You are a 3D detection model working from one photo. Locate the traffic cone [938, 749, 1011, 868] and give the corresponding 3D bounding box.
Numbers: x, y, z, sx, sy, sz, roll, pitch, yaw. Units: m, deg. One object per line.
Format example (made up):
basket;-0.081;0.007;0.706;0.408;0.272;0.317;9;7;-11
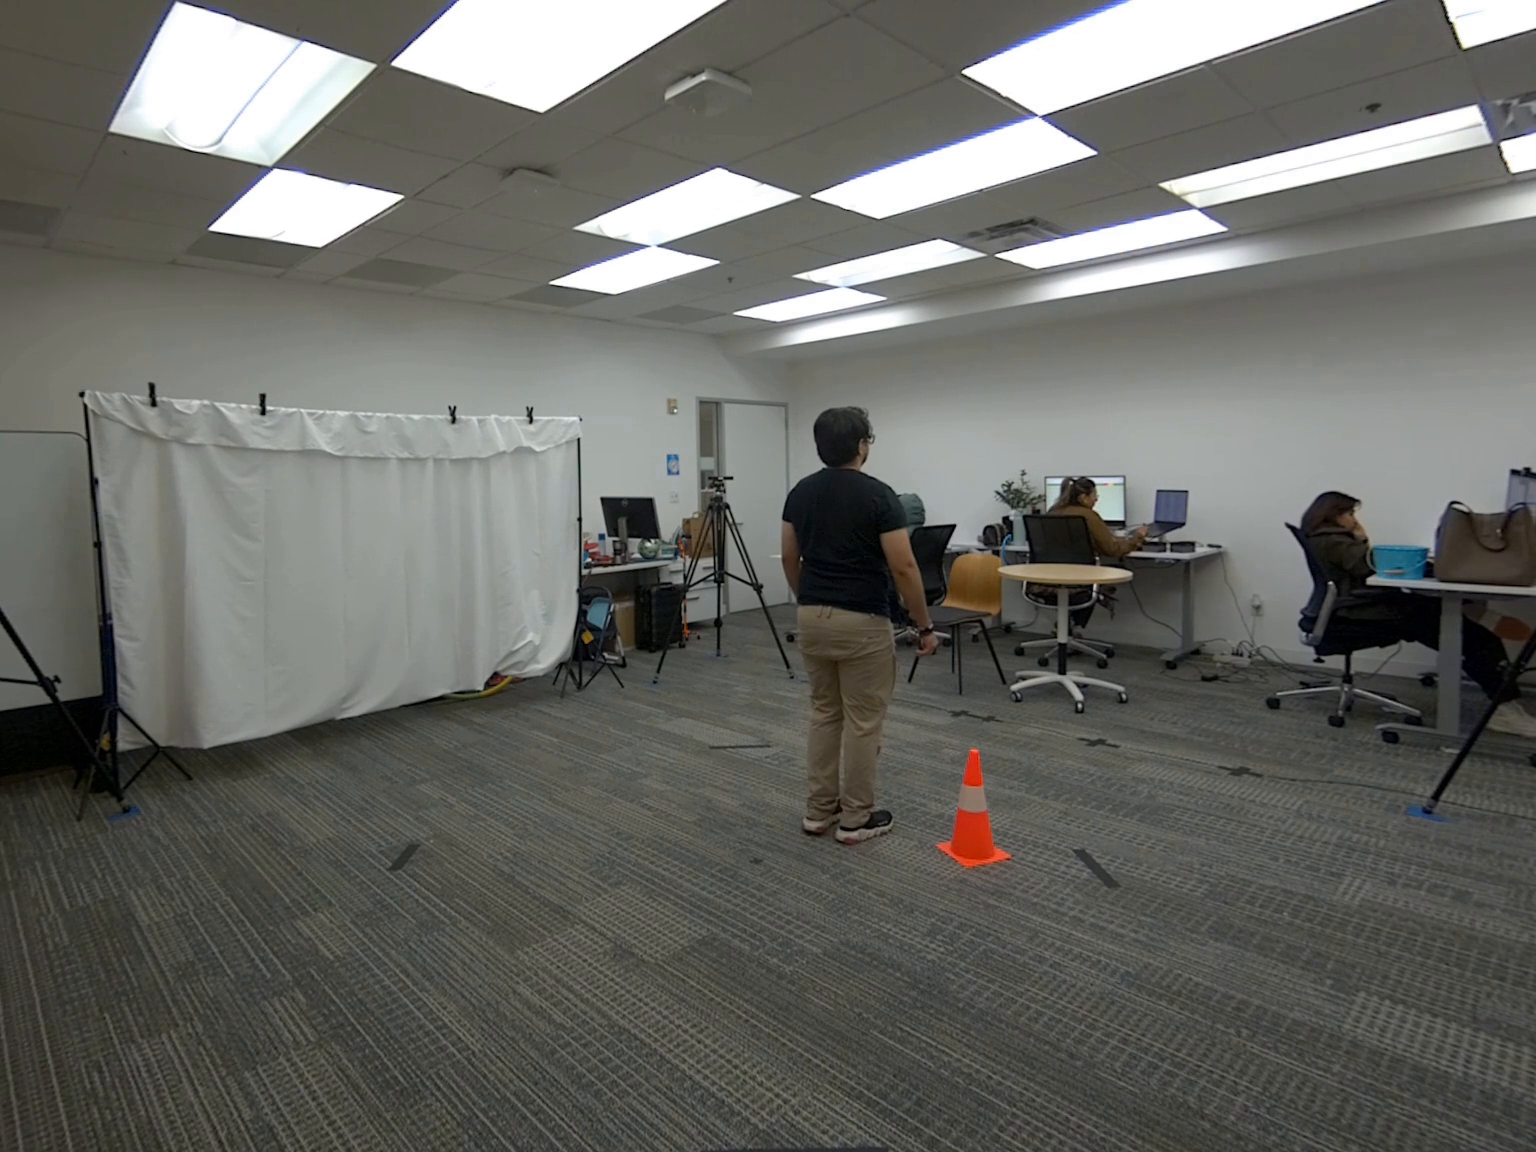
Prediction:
traffic cone;0.760;0.834;3.137;0.199;0.382;0.210;-3;5;-22
